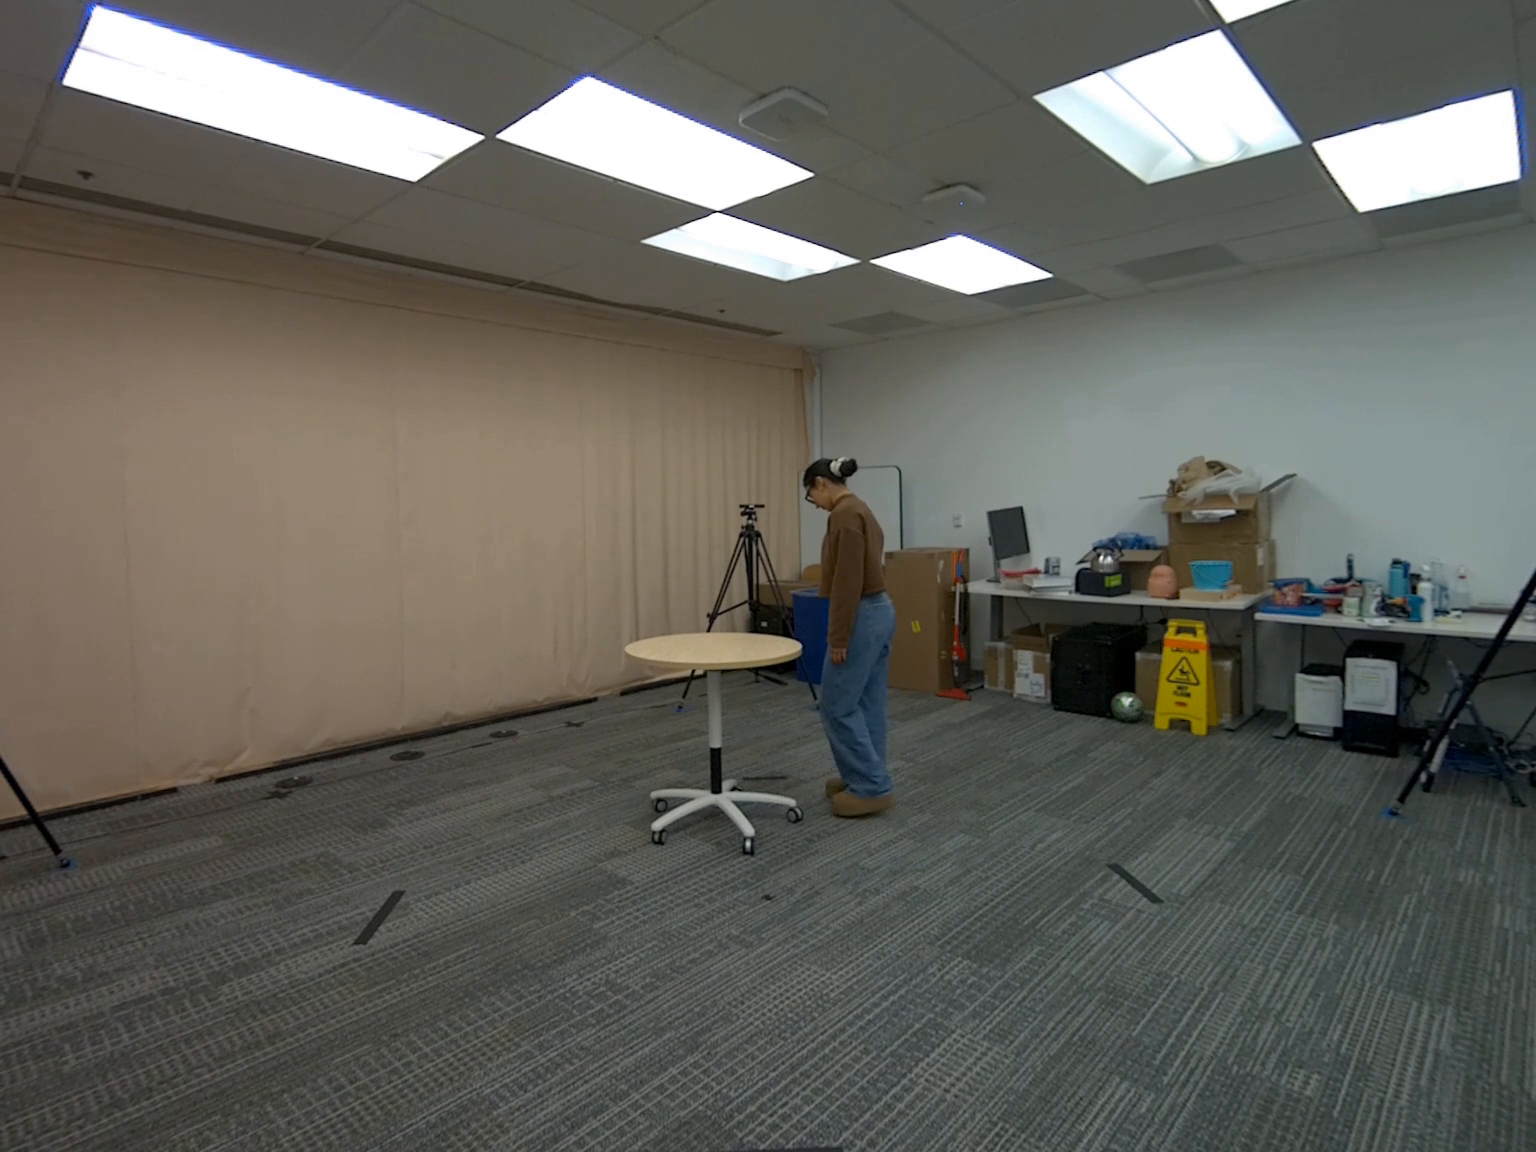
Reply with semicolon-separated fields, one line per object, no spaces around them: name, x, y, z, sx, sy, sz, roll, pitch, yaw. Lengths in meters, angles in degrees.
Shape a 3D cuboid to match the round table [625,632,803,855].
round table;-0.222;0.697;3.660;0.763;0.792;0.767;-1;4;-2
